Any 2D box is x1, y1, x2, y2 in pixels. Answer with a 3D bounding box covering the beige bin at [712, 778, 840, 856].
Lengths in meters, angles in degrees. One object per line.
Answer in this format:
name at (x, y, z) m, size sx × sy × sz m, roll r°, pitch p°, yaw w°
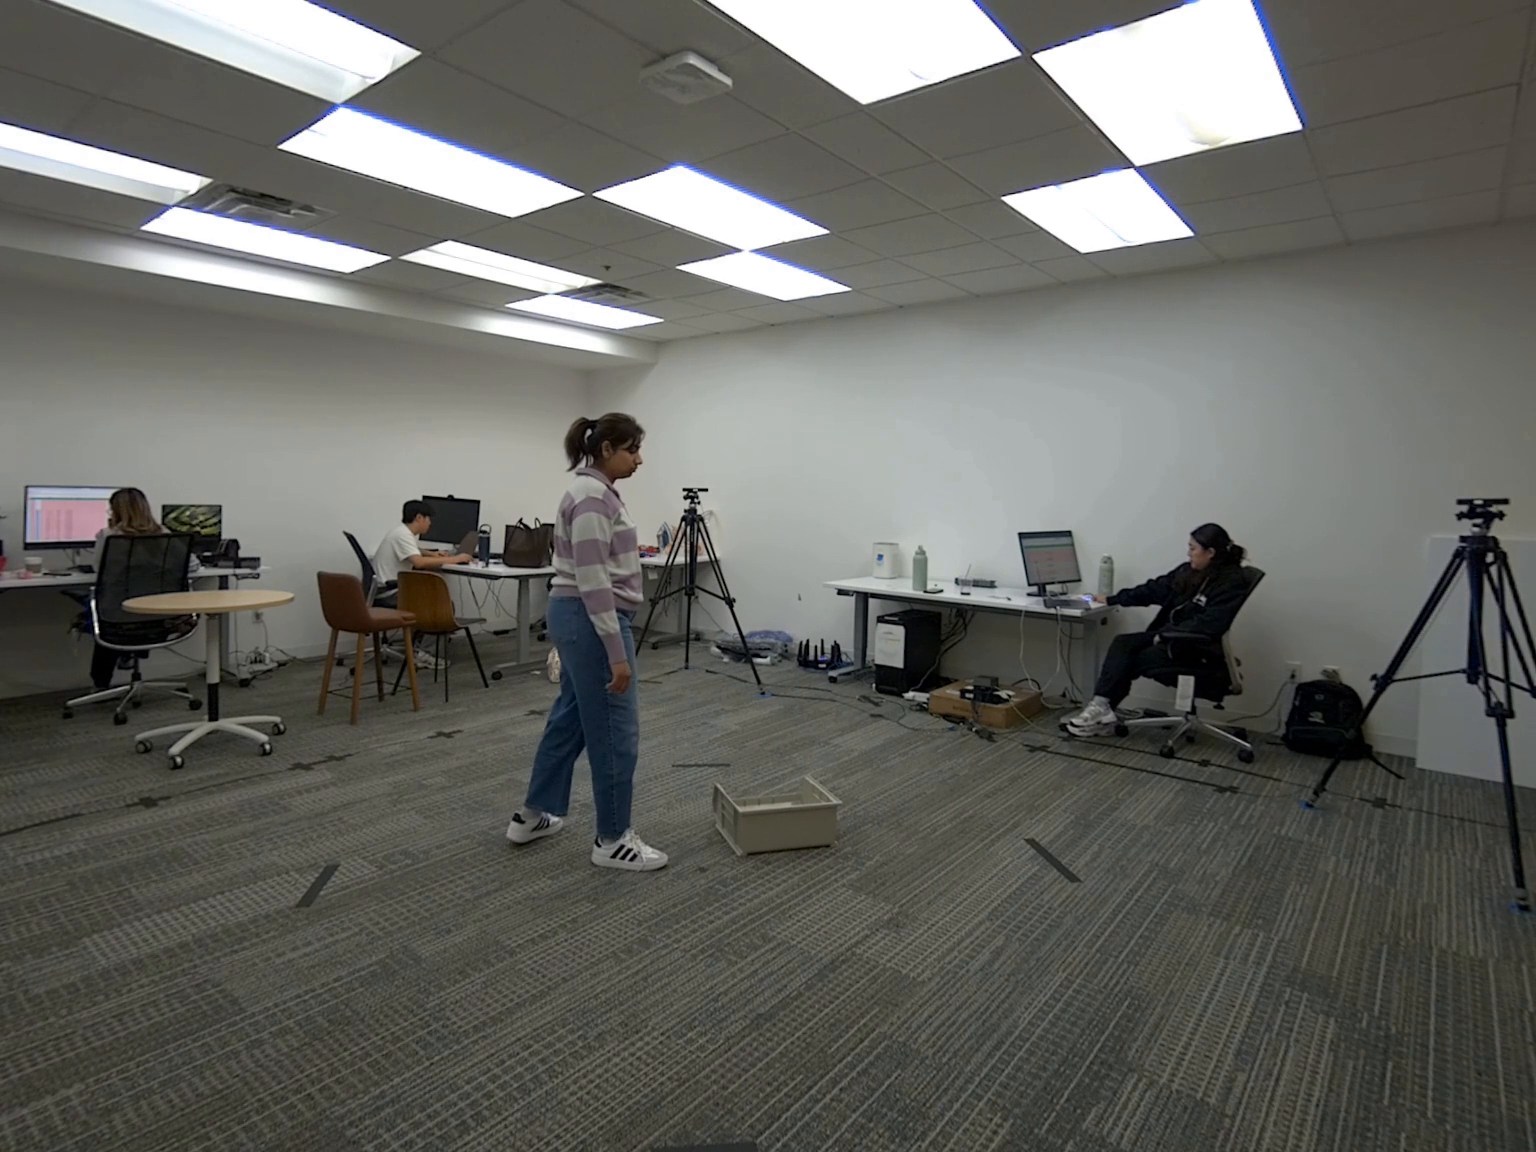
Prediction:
beige bin at (0.017, 0.956, 3.438) m, size 0.414 × 0.188 × 0.386 m, roll 0°, pitch 5°, yaw -19°
